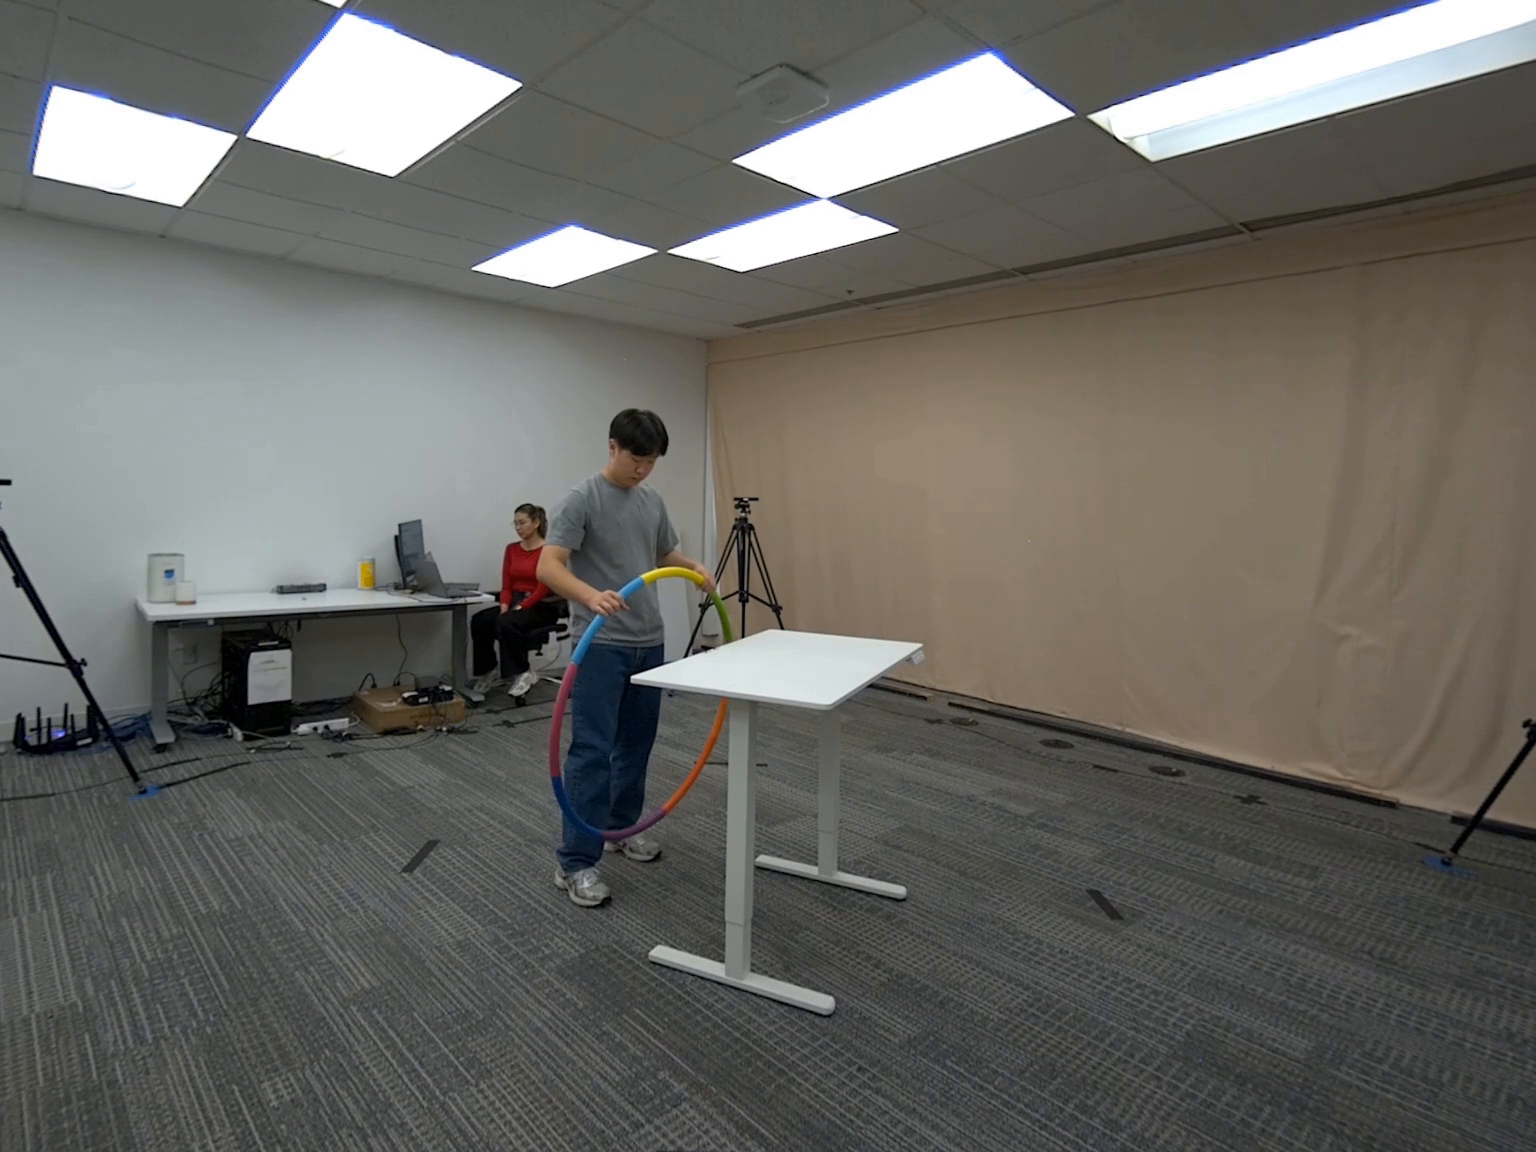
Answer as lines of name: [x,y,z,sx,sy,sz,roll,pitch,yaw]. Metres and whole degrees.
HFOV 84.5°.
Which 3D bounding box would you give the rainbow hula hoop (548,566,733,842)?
rainbow hula hoop: [-0.414,0.453,3.012,0.036,0.974,0.959,13,9,31]
